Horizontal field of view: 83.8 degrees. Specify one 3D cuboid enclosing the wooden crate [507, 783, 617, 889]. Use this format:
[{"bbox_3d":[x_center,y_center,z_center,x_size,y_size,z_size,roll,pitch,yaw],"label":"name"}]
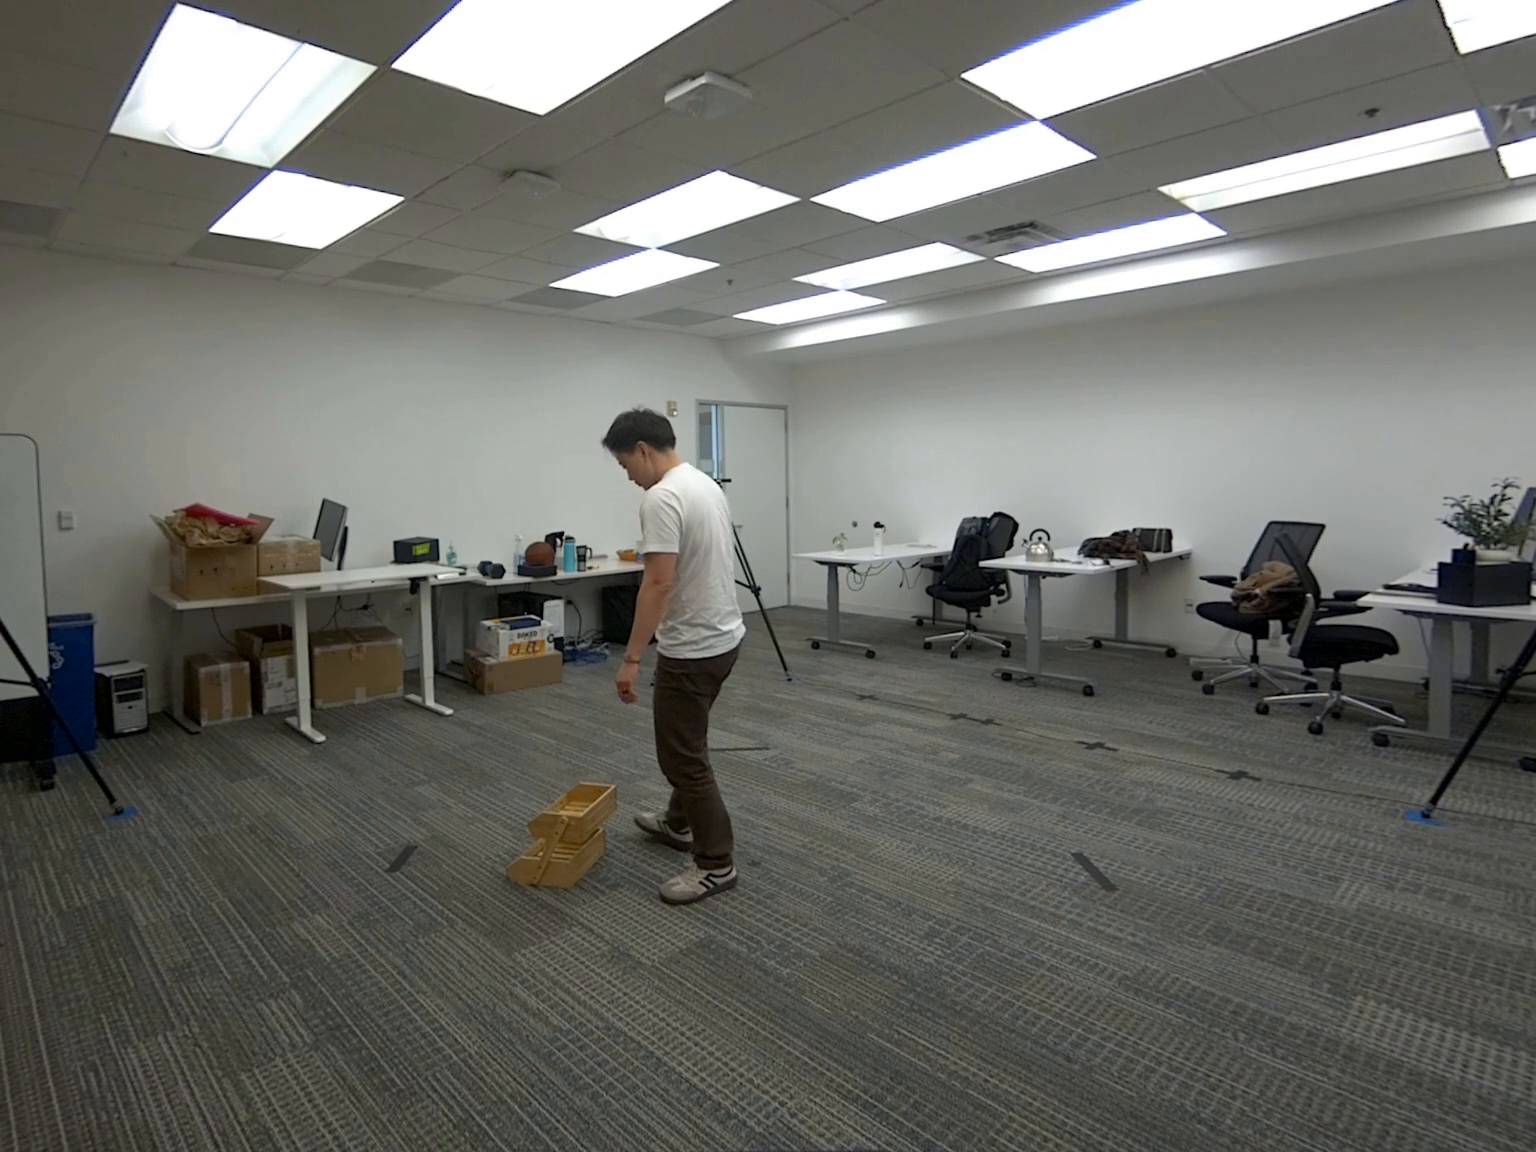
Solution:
[{"bbox_3d":[-0.746,0.930,3.104,0.306,0.272,0.322,0,5,13],"label":"wooden crate"}]
